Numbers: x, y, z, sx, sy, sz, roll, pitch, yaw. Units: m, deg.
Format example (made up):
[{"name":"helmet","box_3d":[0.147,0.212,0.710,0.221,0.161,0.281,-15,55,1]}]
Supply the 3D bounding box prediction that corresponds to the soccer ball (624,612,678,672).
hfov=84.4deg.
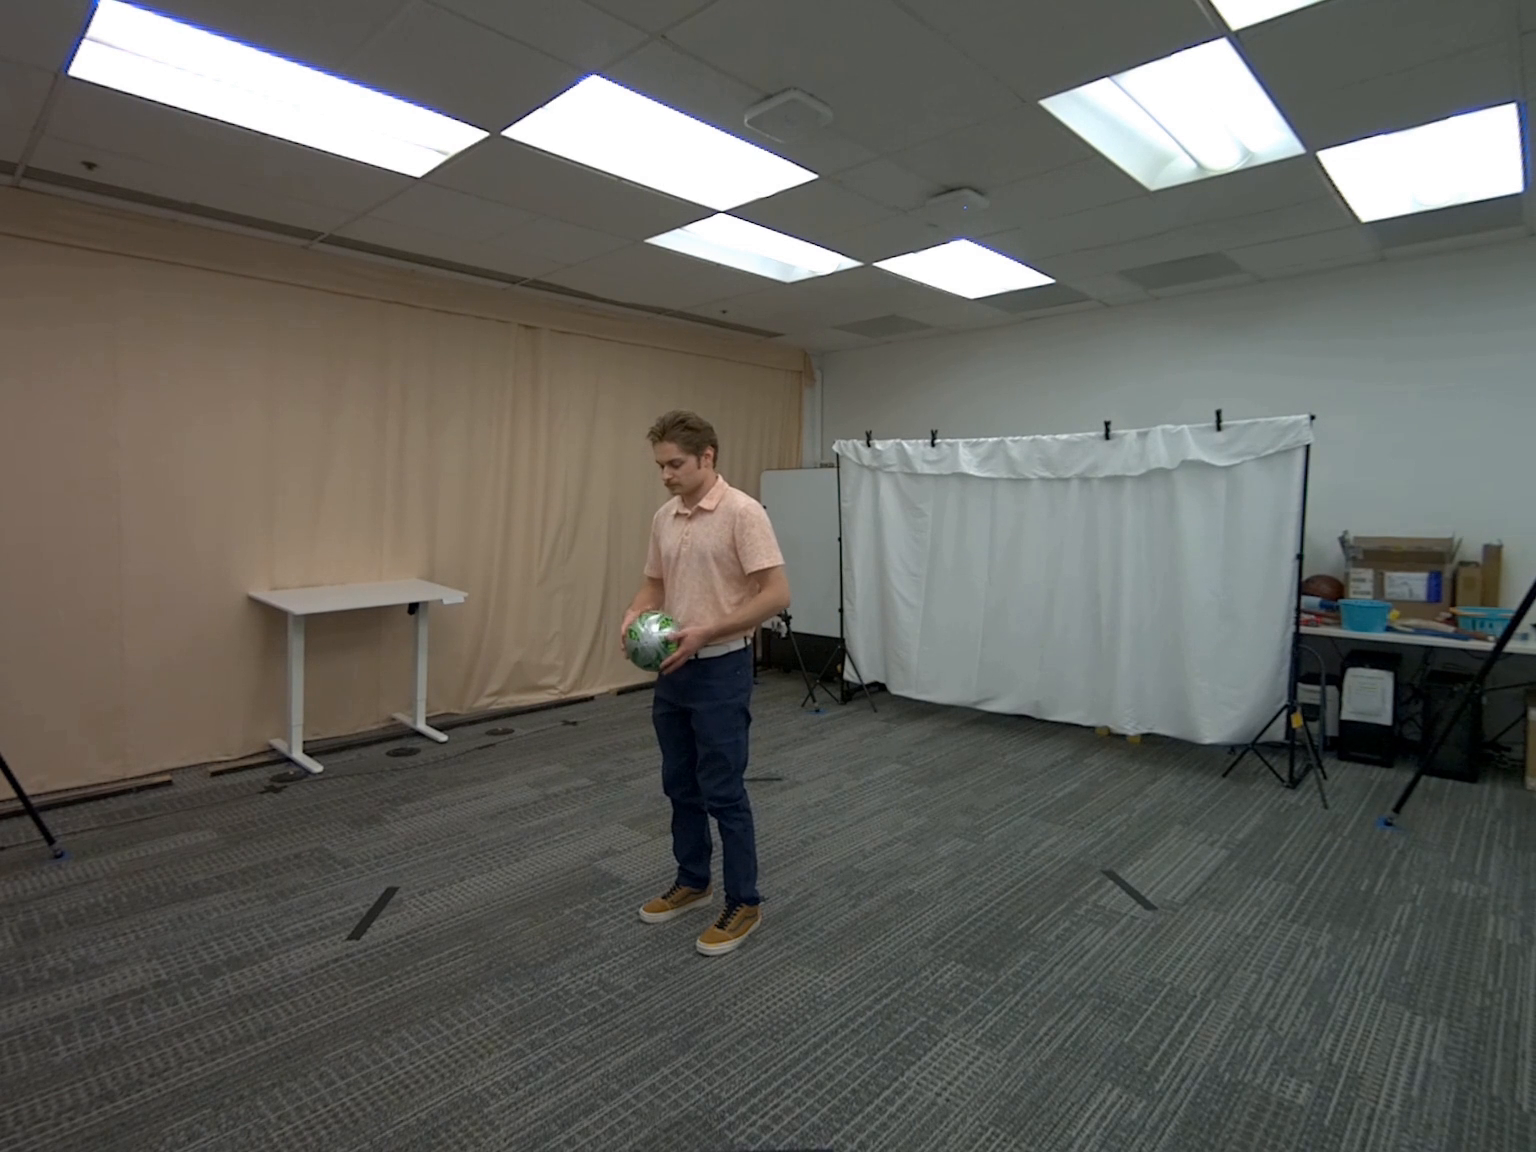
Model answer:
[{"name":"soccer ball","box_3d":[-0.356,0.197,2.602,0.187,0.187,0.188,0,4,-2]}]
